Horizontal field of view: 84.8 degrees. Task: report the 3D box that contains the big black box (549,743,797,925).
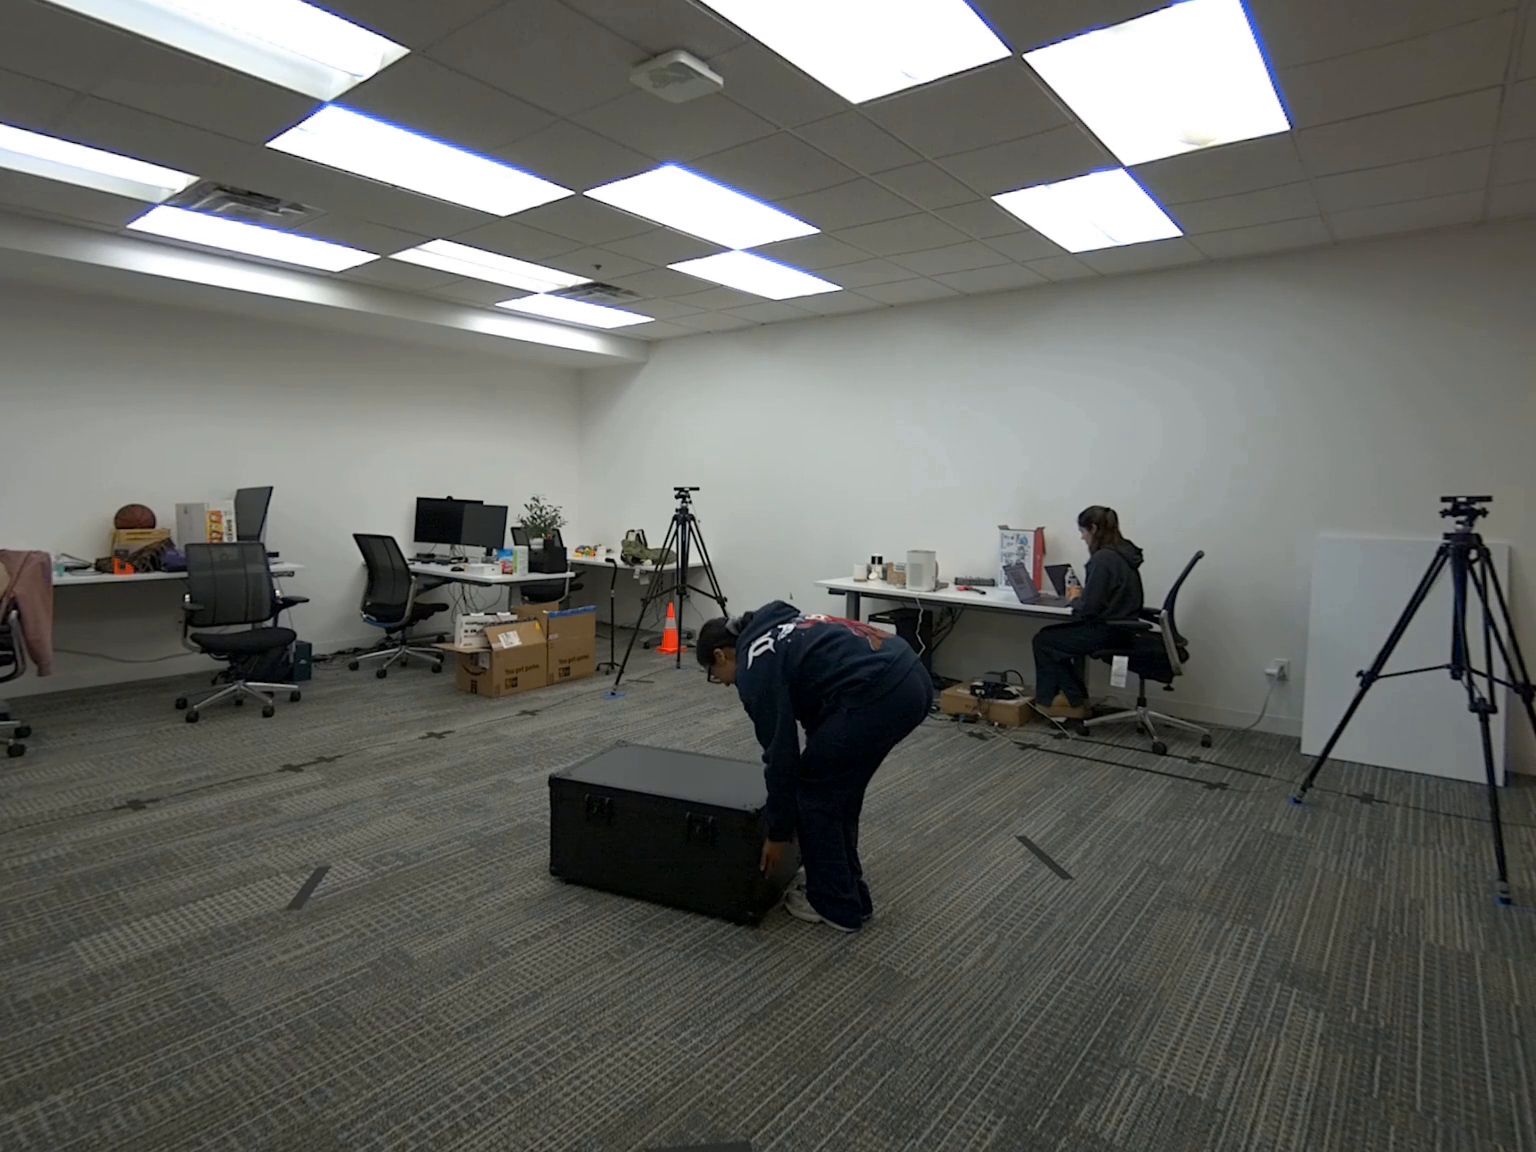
[{"bbox_3d":[-0.361,0.878,3.055,0.882,0.395,0.511,4,5,23],"label":"big black box"}]
